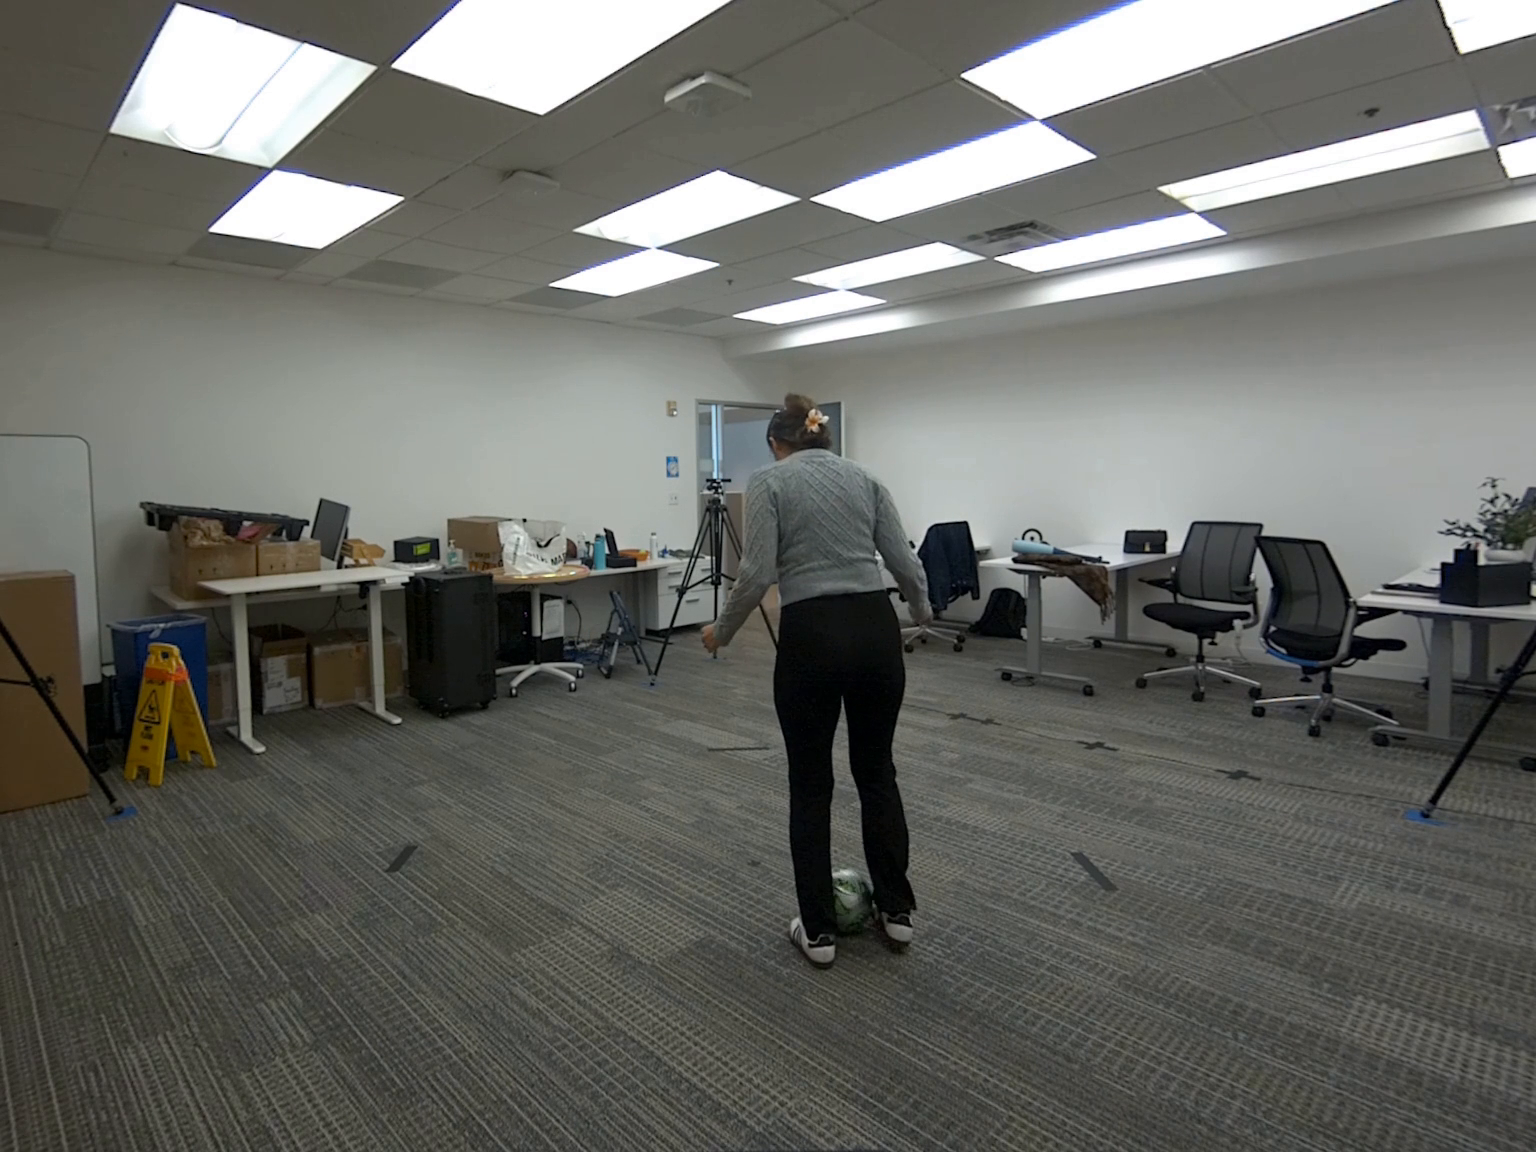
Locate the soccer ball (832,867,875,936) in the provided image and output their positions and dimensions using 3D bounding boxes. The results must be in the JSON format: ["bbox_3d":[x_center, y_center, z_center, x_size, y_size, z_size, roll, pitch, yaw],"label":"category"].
[{"bbox_3d":[0.236,1.002,2.642,0.187,0.187,0.188,-1,5,-2],"label":"soccer ball"}]
